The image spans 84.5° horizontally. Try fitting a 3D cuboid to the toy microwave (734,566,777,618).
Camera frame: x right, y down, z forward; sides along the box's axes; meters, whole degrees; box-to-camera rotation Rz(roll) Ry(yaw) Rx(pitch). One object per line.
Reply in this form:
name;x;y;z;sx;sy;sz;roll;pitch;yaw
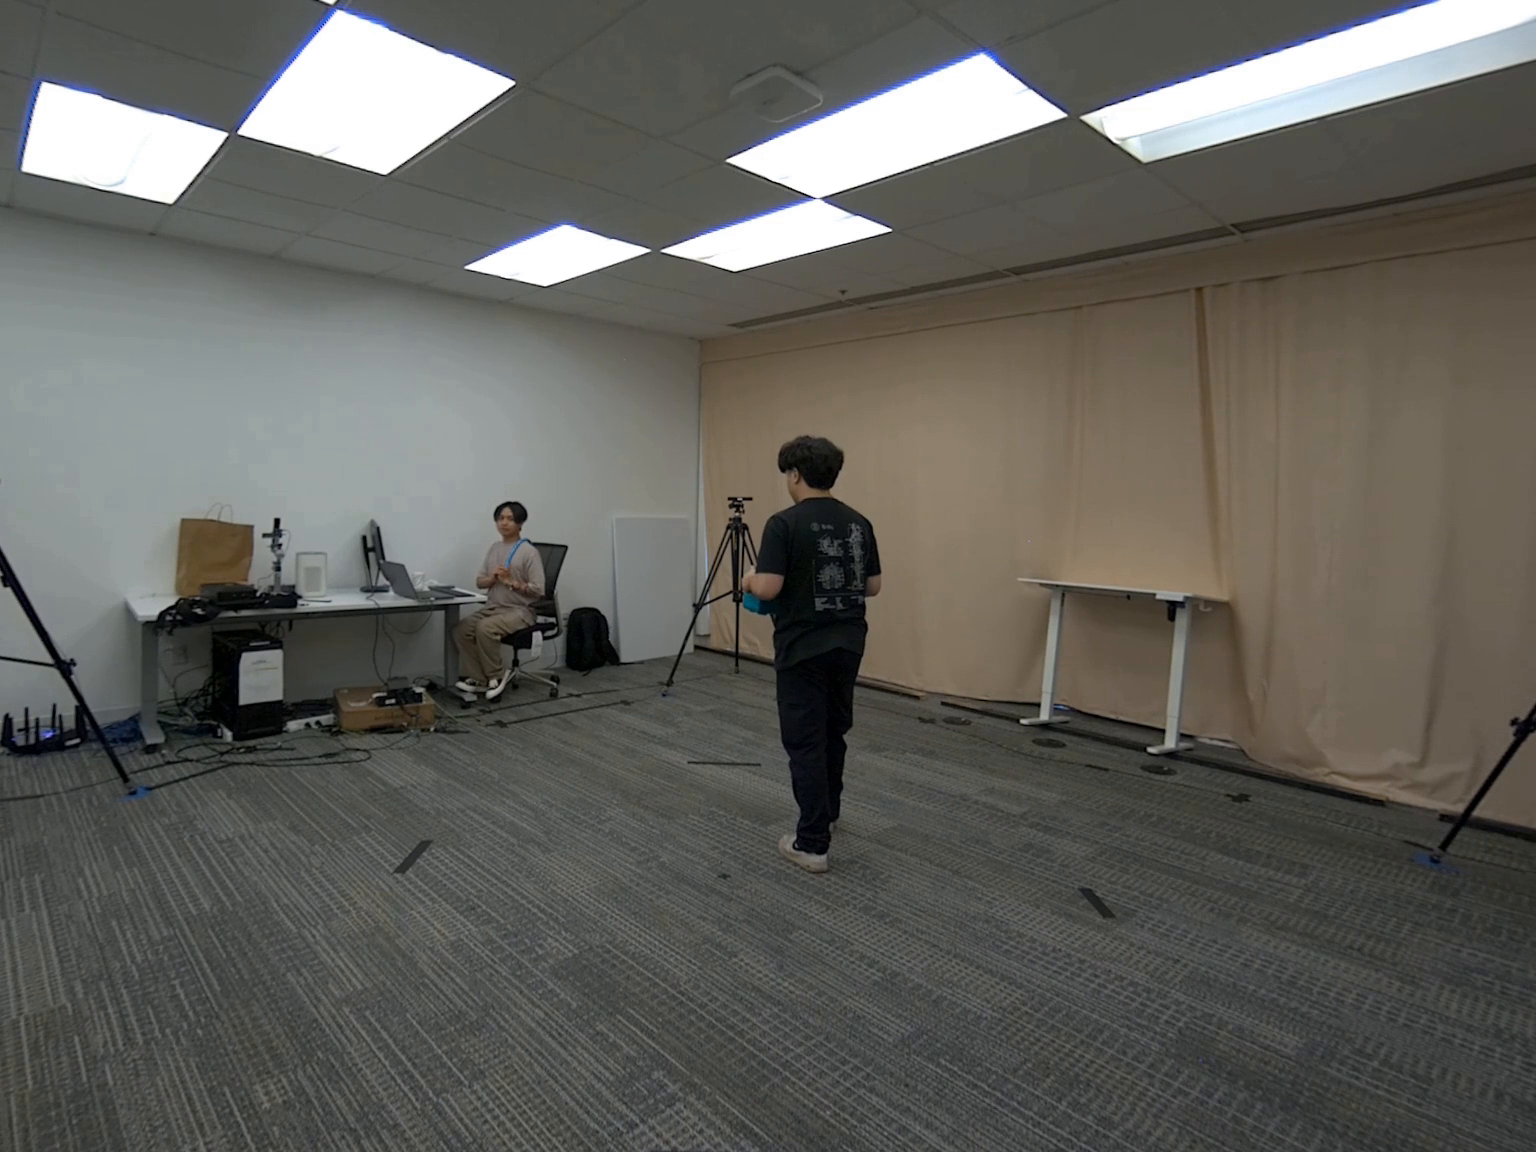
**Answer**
toy microwave;0.027;0.068;3.582;0.279;0.183;0.156;4;5;-33
